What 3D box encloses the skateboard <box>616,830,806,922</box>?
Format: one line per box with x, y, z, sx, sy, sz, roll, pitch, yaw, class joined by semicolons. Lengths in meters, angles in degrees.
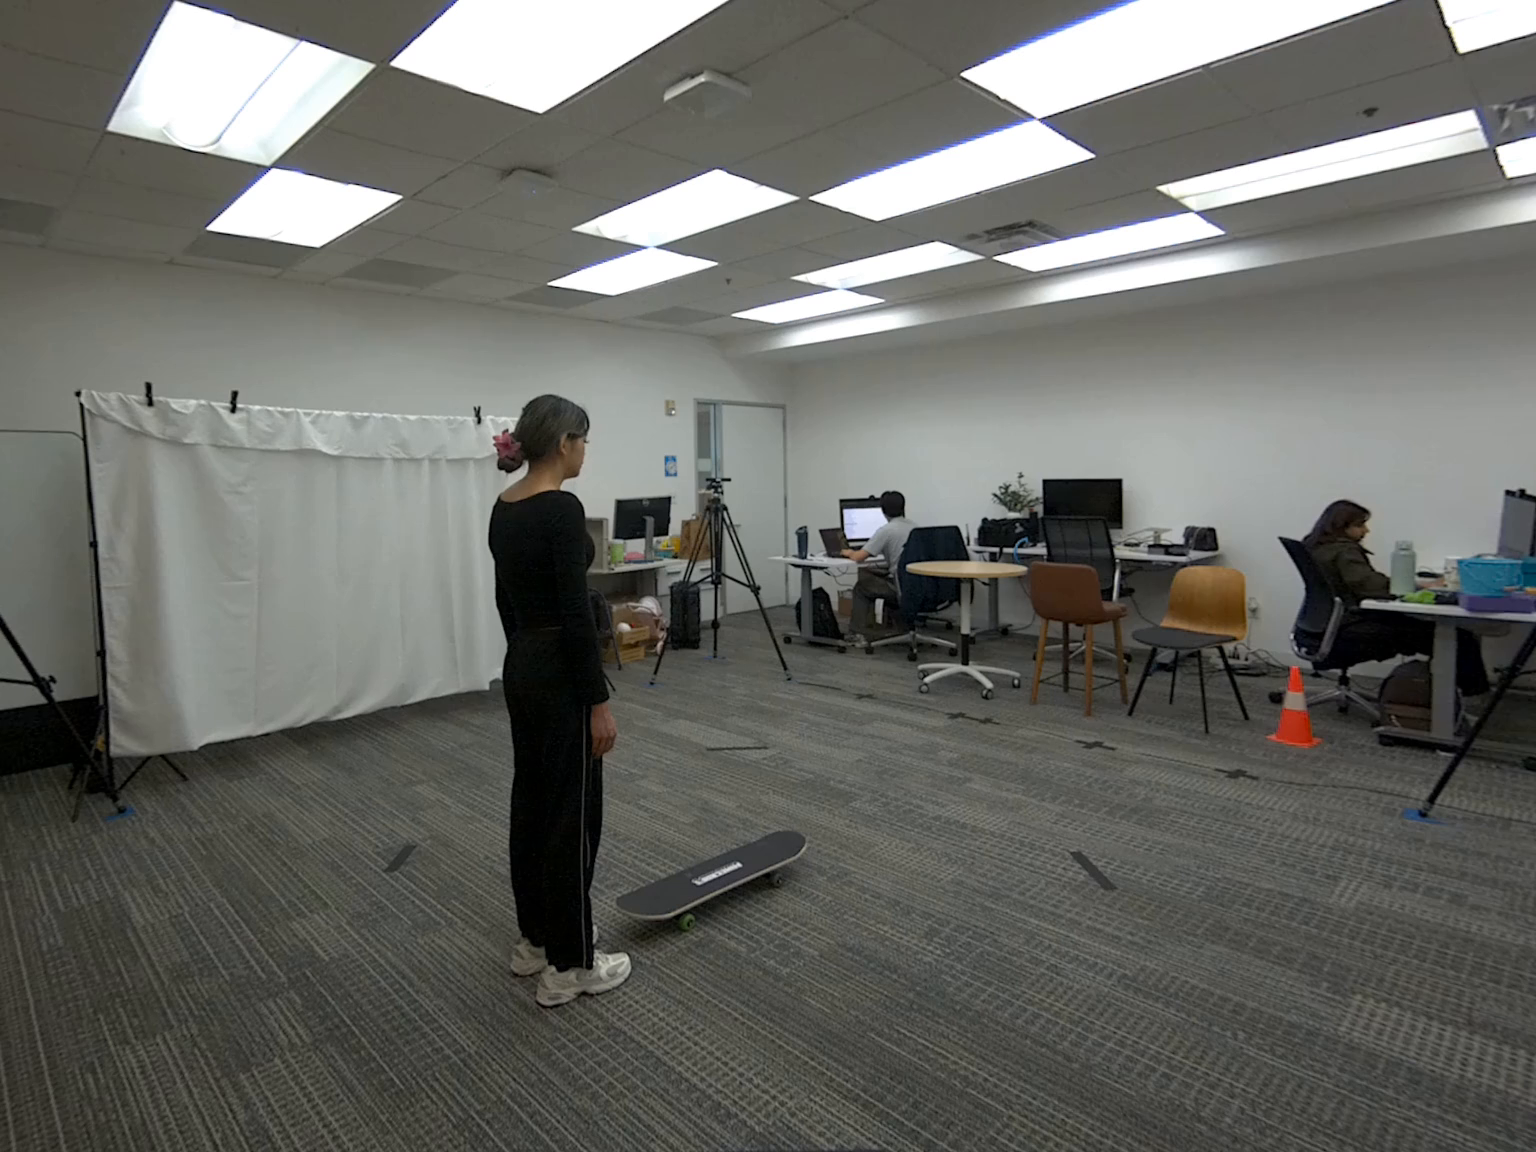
-0.166;1.017;2.840;0.765;0.110;0.199;-7;8;-44;skateboard
